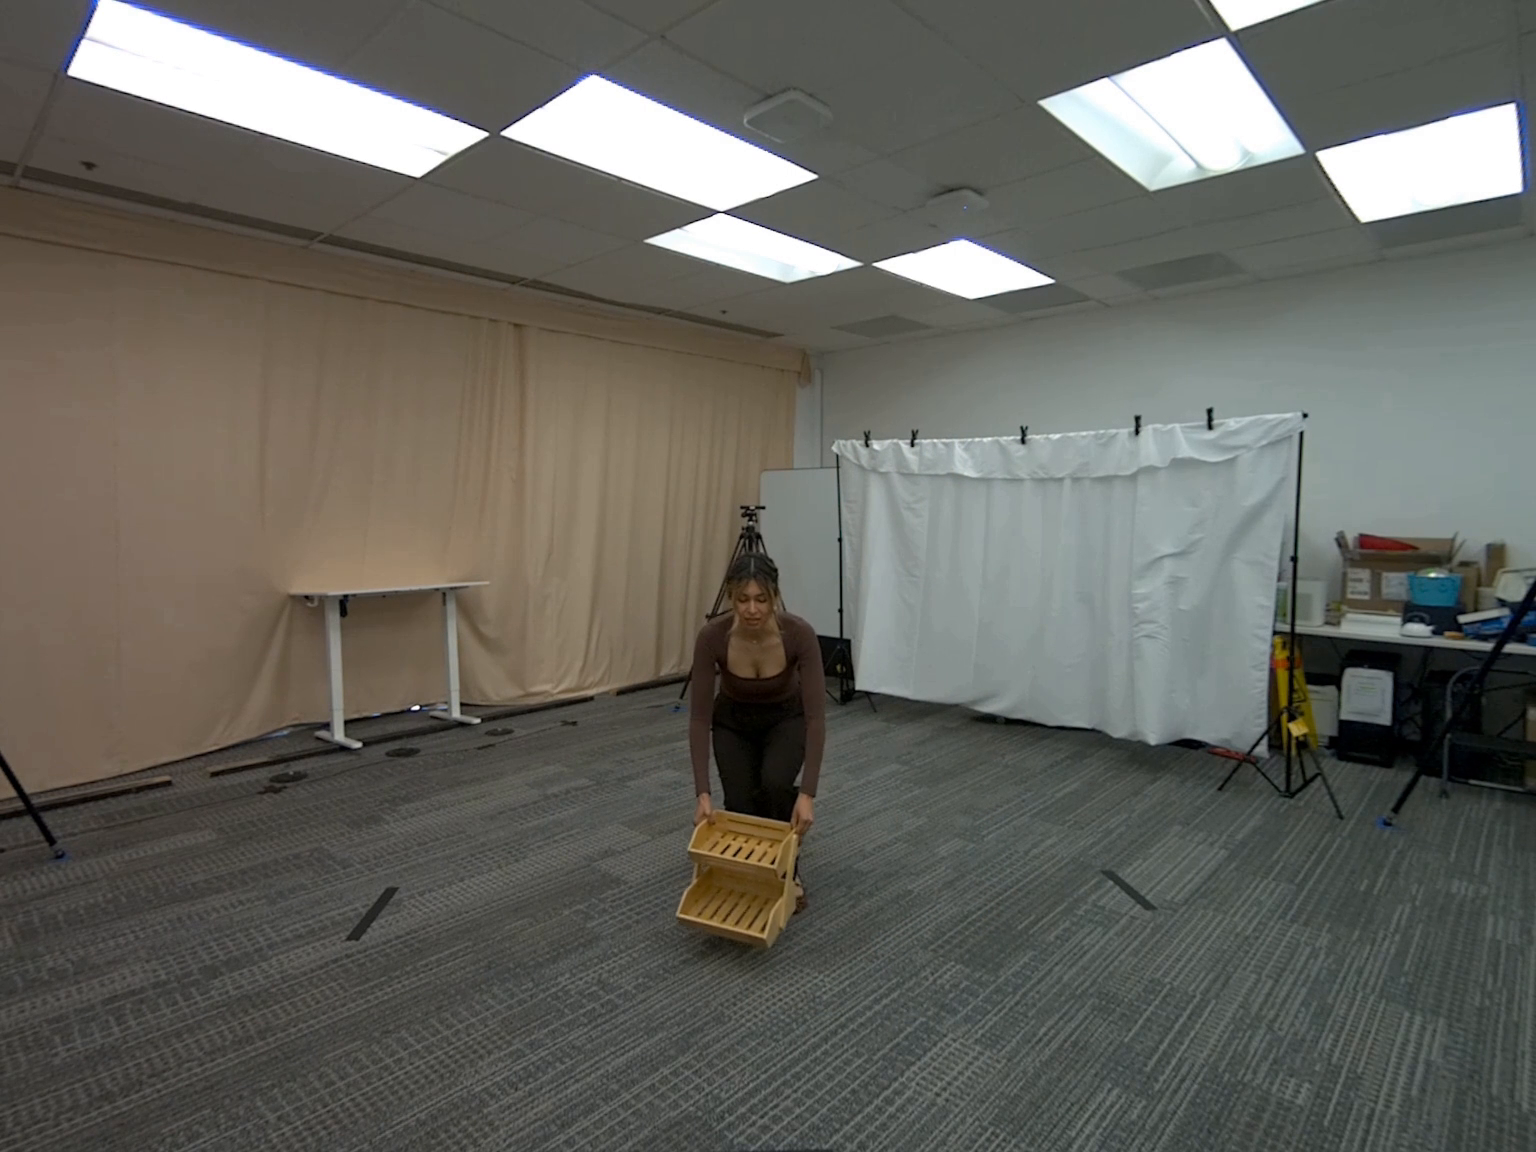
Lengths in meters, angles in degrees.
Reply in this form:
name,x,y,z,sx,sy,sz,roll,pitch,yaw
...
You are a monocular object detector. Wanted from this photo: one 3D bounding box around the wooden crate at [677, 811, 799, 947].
name,x,y,z,sx,sy,sz,roll,pitch,yaw
wooden crate,-0.092,0.934,2.652,0.332,0.272,0.296,3,10,24
